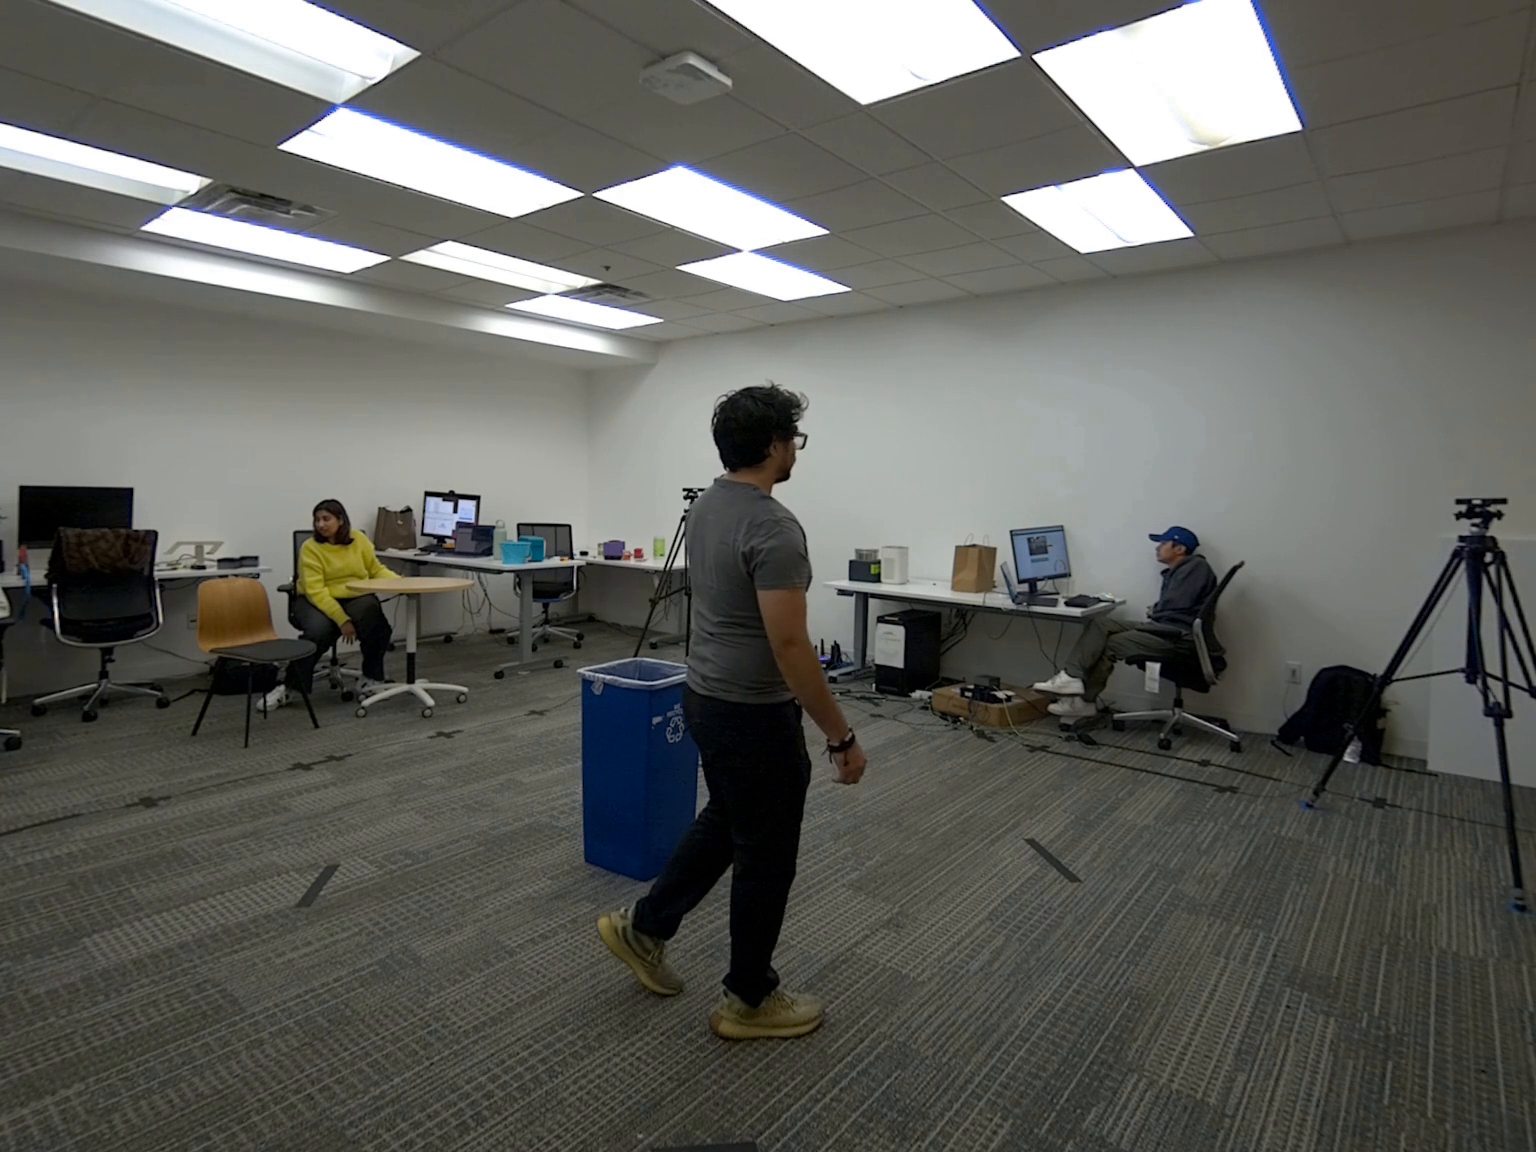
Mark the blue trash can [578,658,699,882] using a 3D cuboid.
[{"bbox_3d":[-0.483,0.699,3.190,0.390,0.712,0.364,3,4,32],"label":"blue trash can"}]
